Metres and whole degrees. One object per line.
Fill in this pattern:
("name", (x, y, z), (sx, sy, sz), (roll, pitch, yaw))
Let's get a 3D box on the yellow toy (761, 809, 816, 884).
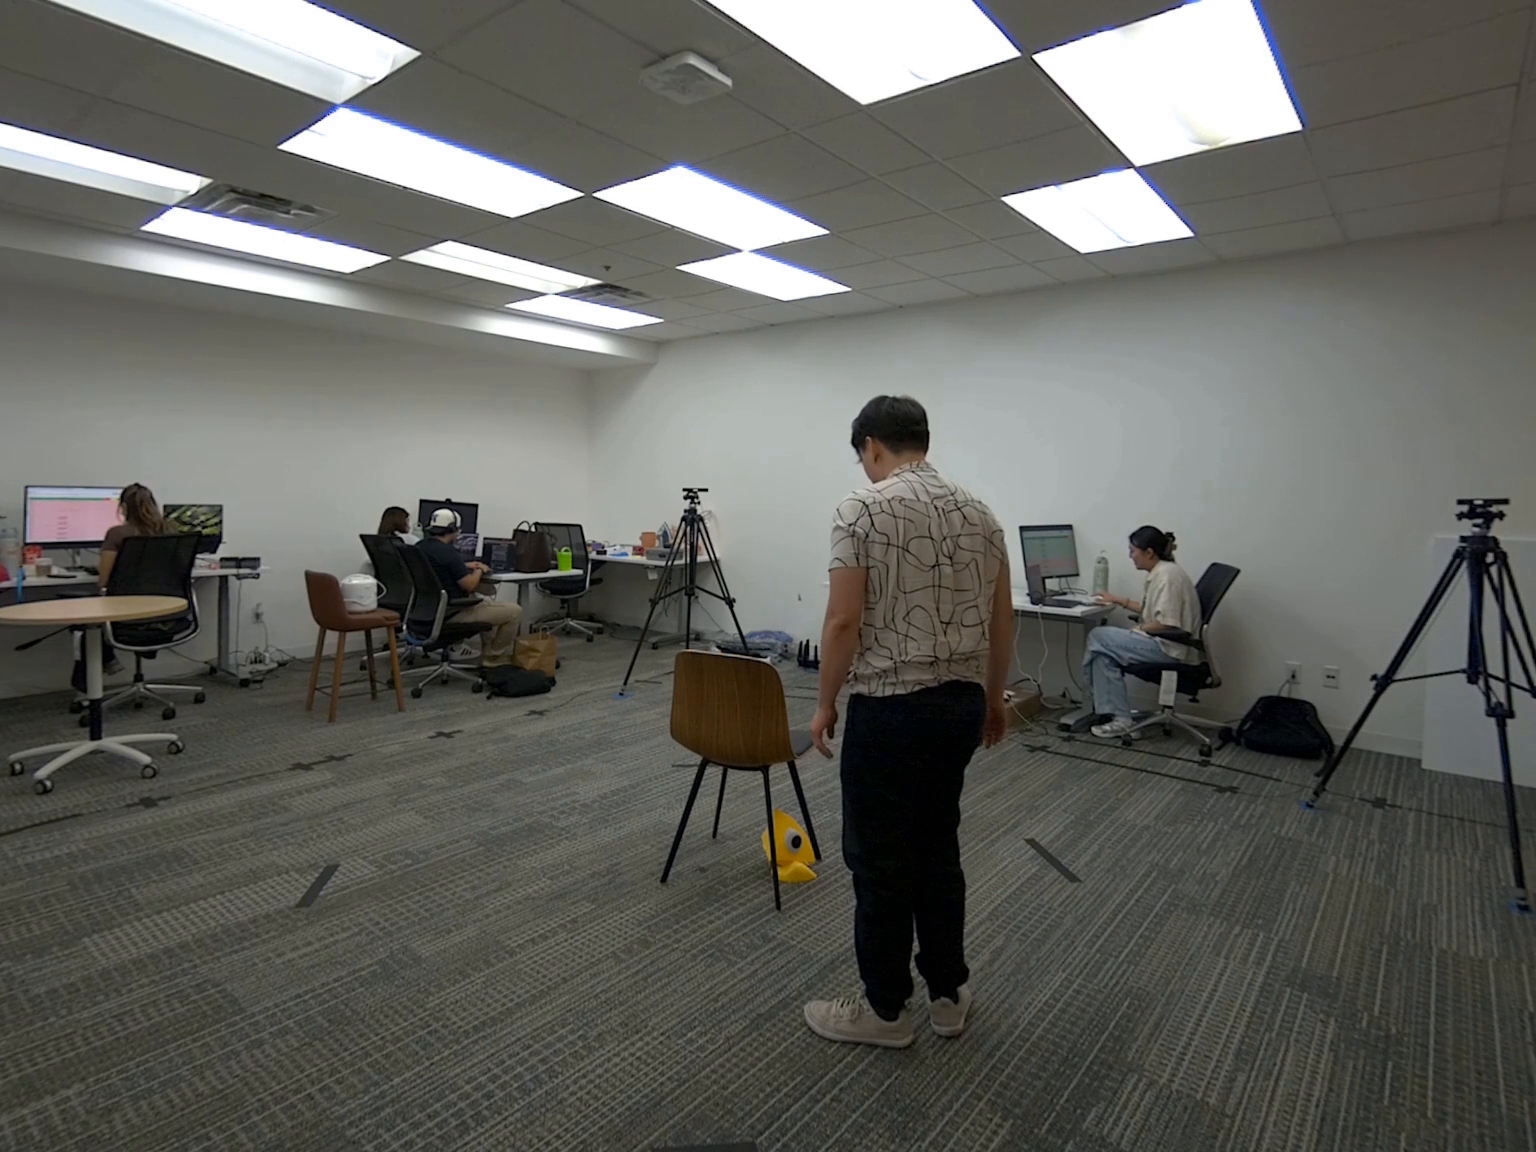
("yellow toy", (0.075, 0.958, 3.118), (0.192, 0.230, 0.207), (-1, 5, -7))
